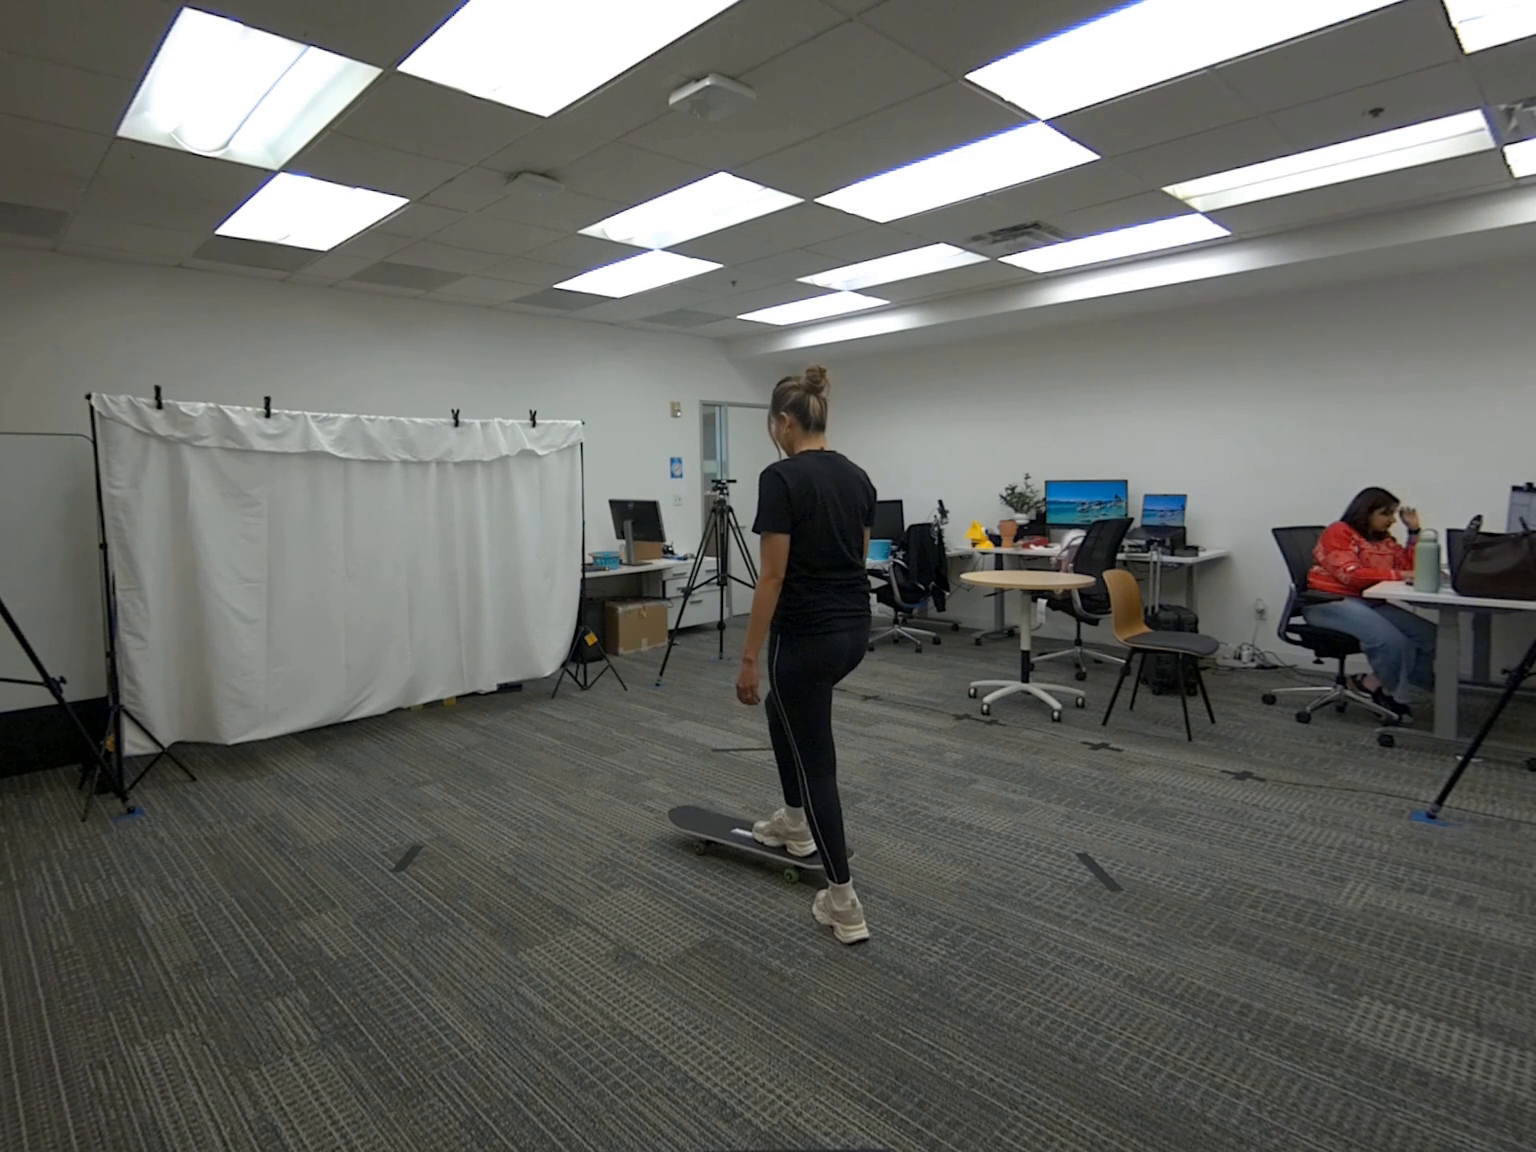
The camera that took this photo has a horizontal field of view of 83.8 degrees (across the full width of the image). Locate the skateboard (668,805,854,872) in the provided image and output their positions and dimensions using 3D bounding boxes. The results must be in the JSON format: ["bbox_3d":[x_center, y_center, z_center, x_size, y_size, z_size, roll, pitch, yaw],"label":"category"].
[{"bbox_3d":[-0.038,0.992,3.132,0.808,0.110,0.189,4,8,35],"label":"skateboard"}]
